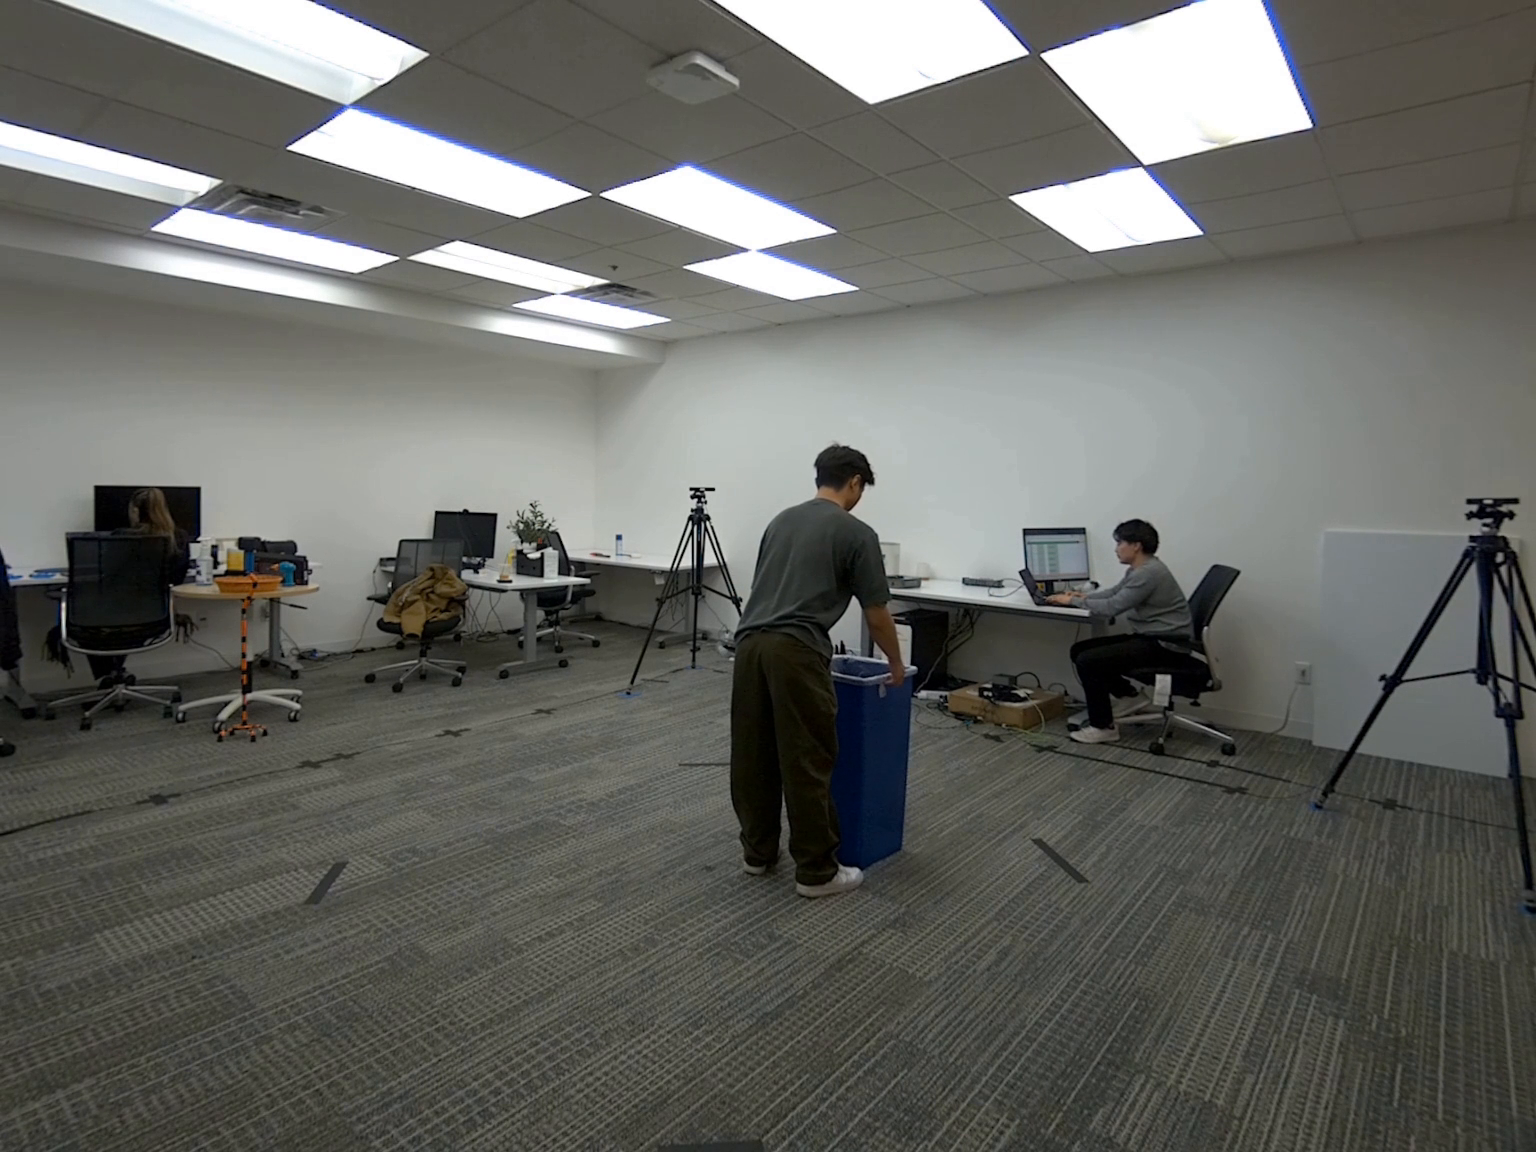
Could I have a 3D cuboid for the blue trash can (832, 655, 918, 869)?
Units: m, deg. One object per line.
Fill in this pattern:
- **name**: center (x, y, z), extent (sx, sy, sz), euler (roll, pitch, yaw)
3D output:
- **blue trash can**: center (0.311, 0.697, 3.310), extent (0.387, 0.712, 0.366), euler (4, 4, 42)
